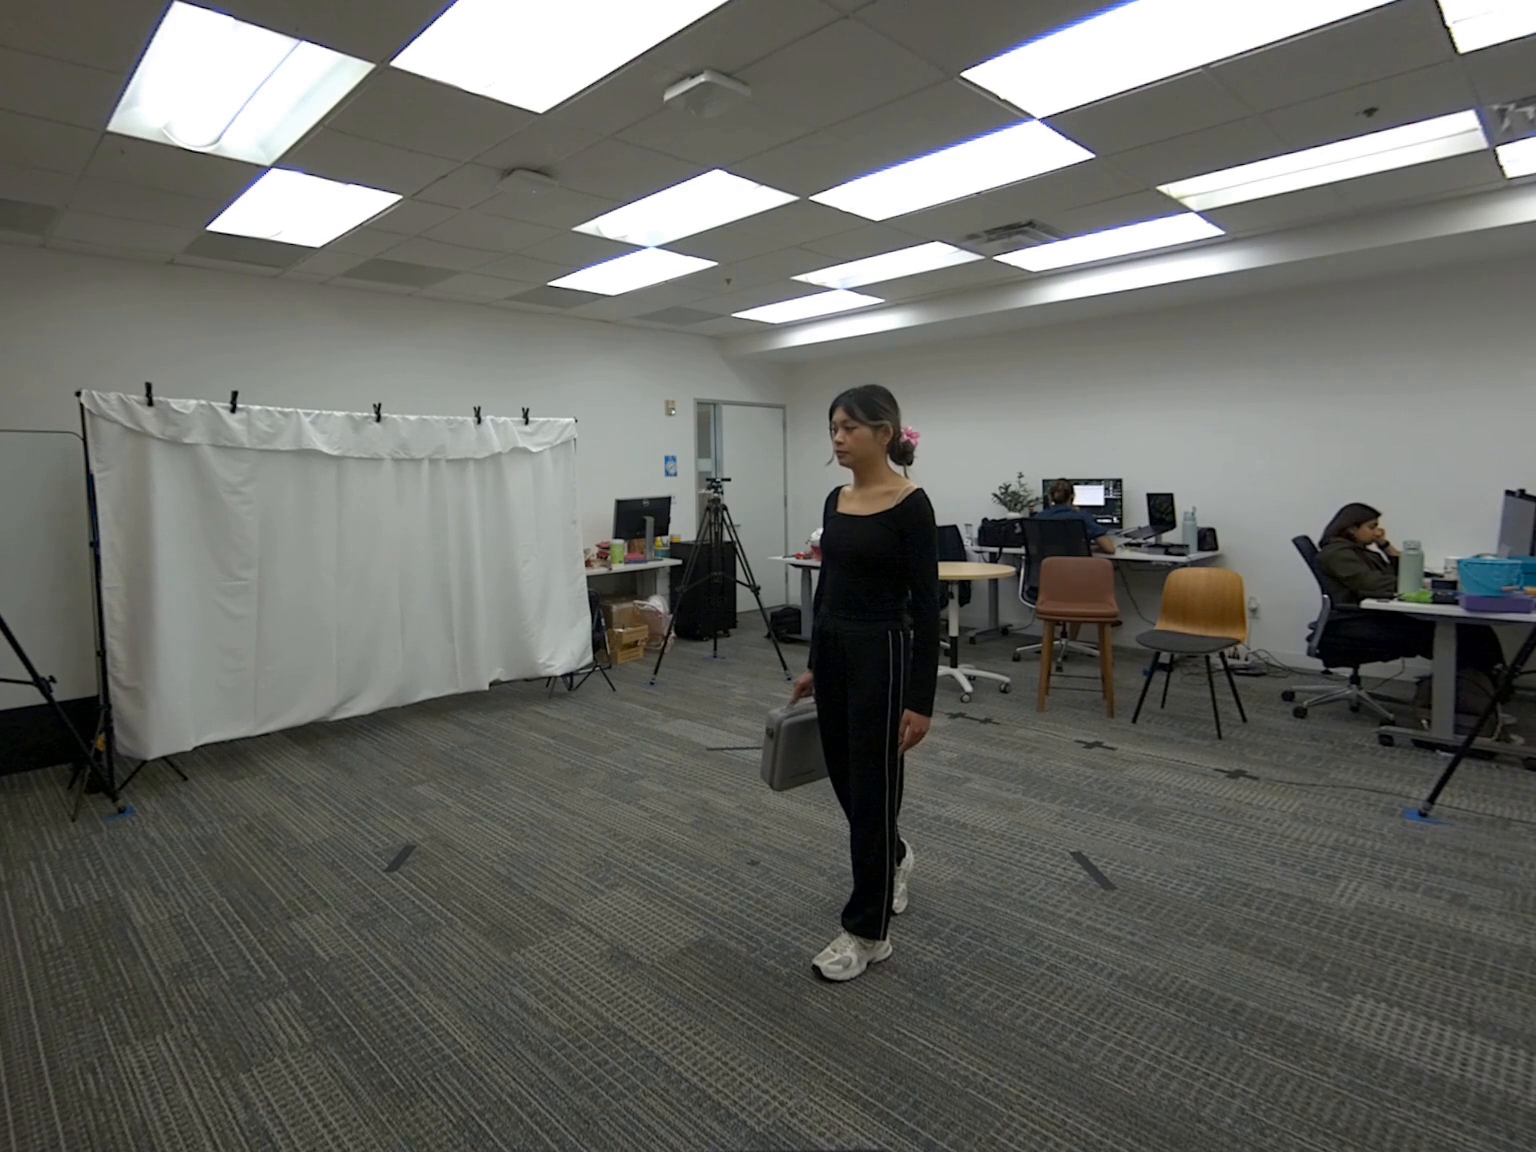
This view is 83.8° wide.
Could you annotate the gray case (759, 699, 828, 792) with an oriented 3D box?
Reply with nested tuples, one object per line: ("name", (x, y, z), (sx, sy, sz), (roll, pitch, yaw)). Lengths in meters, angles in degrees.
("gray case", (0.114, 0.527, 2.709), (0.250, 0.258, 0.108), (-5, 16, -34))
